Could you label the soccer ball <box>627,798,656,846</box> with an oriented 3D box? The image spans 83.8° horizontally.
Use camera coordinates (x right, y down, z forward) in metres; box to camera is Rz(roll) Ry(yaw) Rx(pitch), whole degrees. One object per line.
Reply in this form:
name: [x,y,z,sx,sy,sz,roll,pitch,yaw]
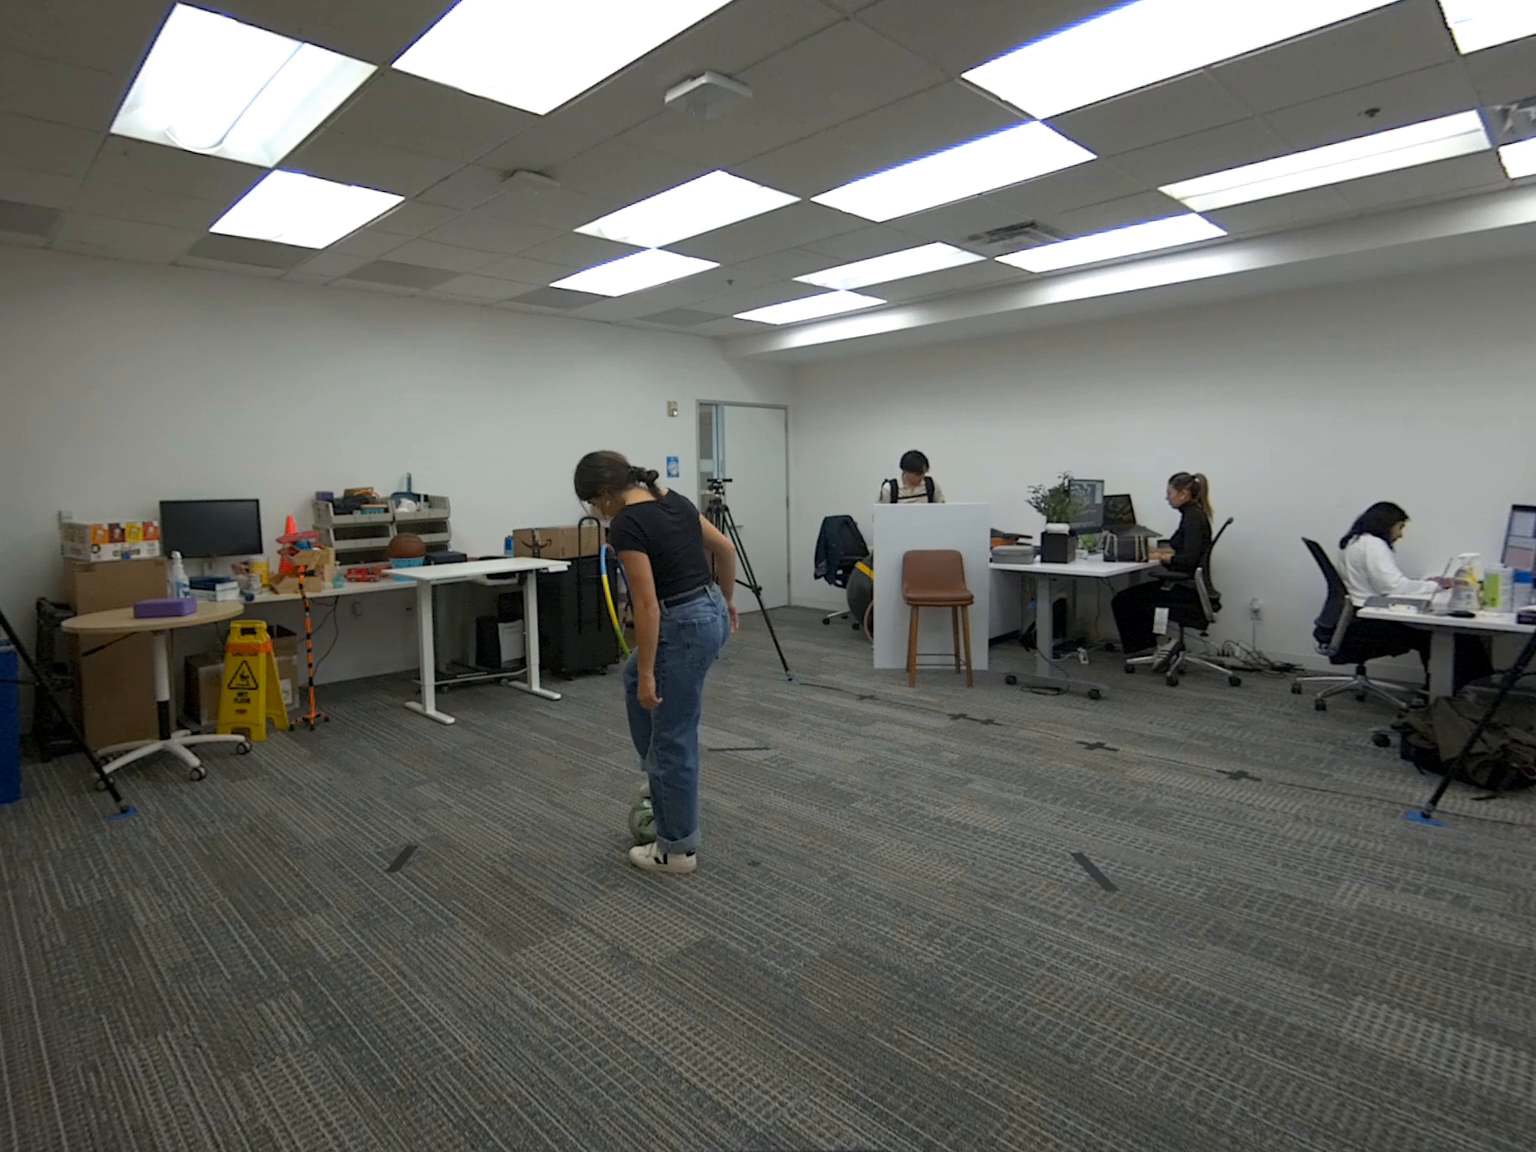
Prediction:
soccer ball: [-0.439,0.941,3.289,0.187,0.187,0.188,-1,5,-2]
